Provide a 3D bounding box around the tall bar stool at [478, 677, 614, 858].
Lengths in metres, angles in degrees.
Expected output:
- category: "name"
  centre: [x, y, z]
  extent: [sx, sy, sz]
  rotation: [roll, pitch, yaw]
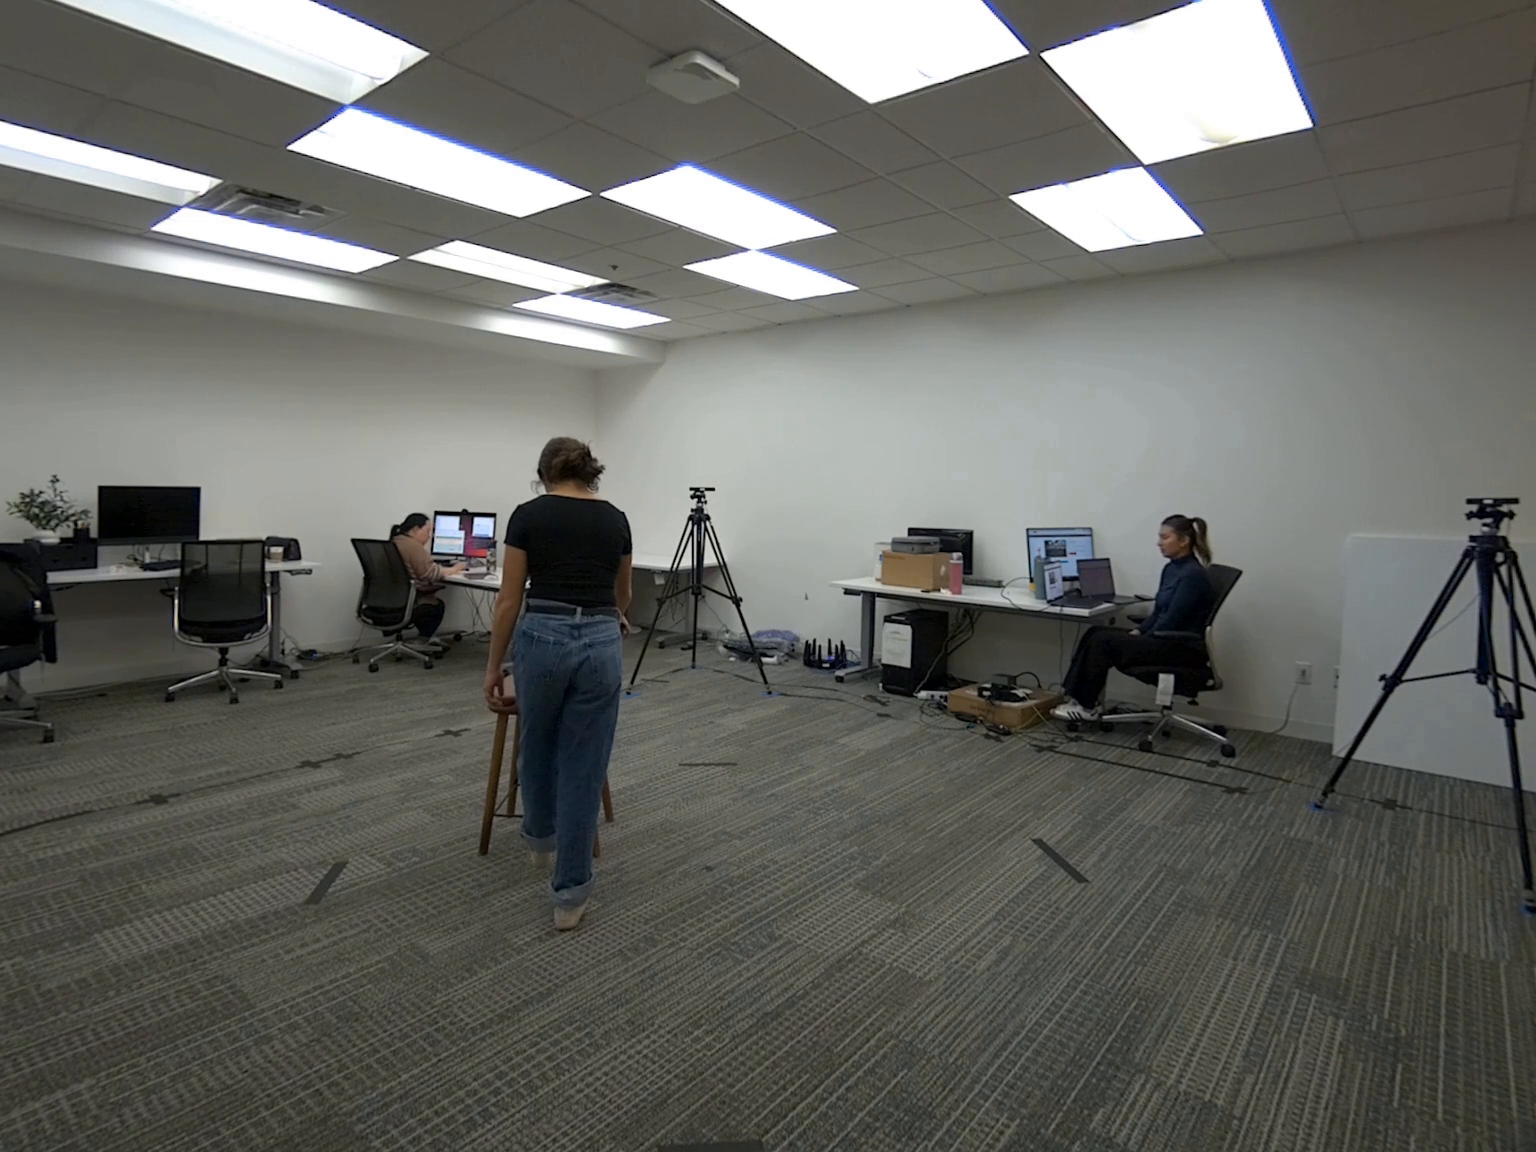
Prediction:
- category: "tall bar stool"
  centre: [-0.859, 0.594, 3.355]
  extent: [0.468, 0.887, 0.457]
  rotation: [4, 3, 0]
